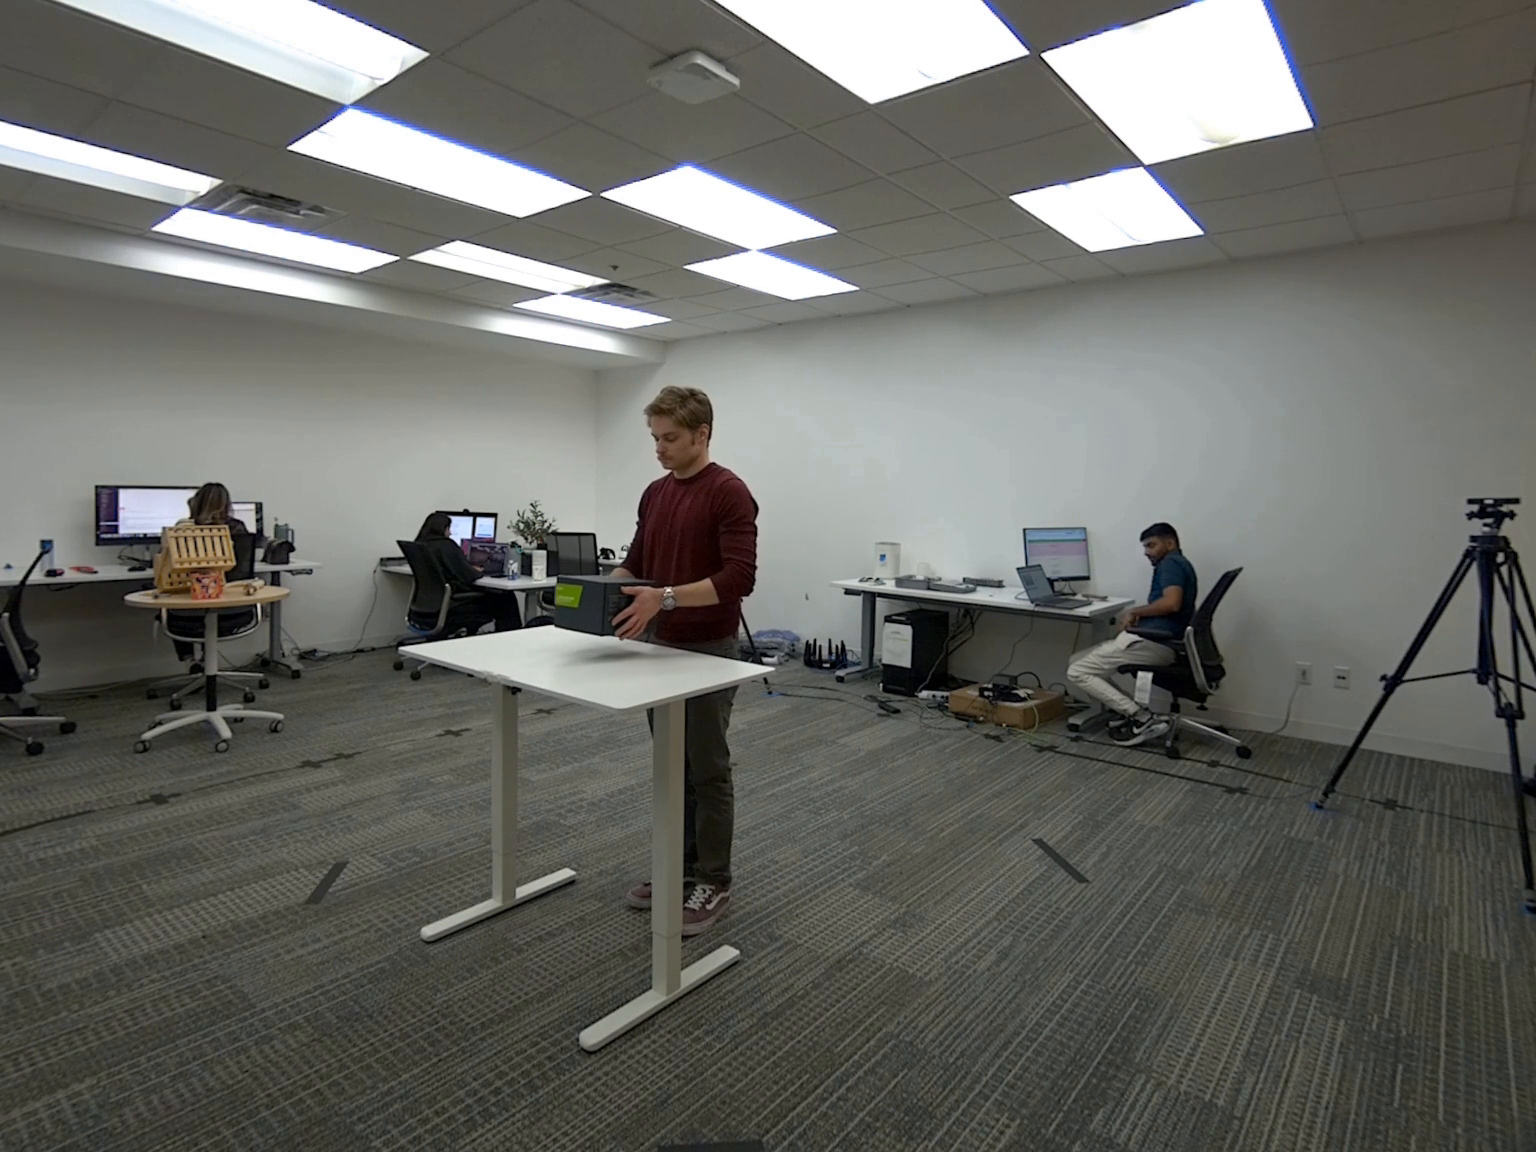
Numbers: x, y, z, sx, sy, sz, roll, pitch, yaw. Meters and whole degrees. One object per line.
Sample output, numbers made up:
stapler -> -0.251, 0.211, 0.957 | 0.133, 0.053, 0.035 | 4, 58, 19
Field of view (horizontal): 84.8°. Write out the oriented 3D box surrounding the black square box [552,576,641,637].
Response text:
black square box -> -0.502, 0.085, 2.574 | 0.235, 0.155, 0.210 | 5, 4, 39
